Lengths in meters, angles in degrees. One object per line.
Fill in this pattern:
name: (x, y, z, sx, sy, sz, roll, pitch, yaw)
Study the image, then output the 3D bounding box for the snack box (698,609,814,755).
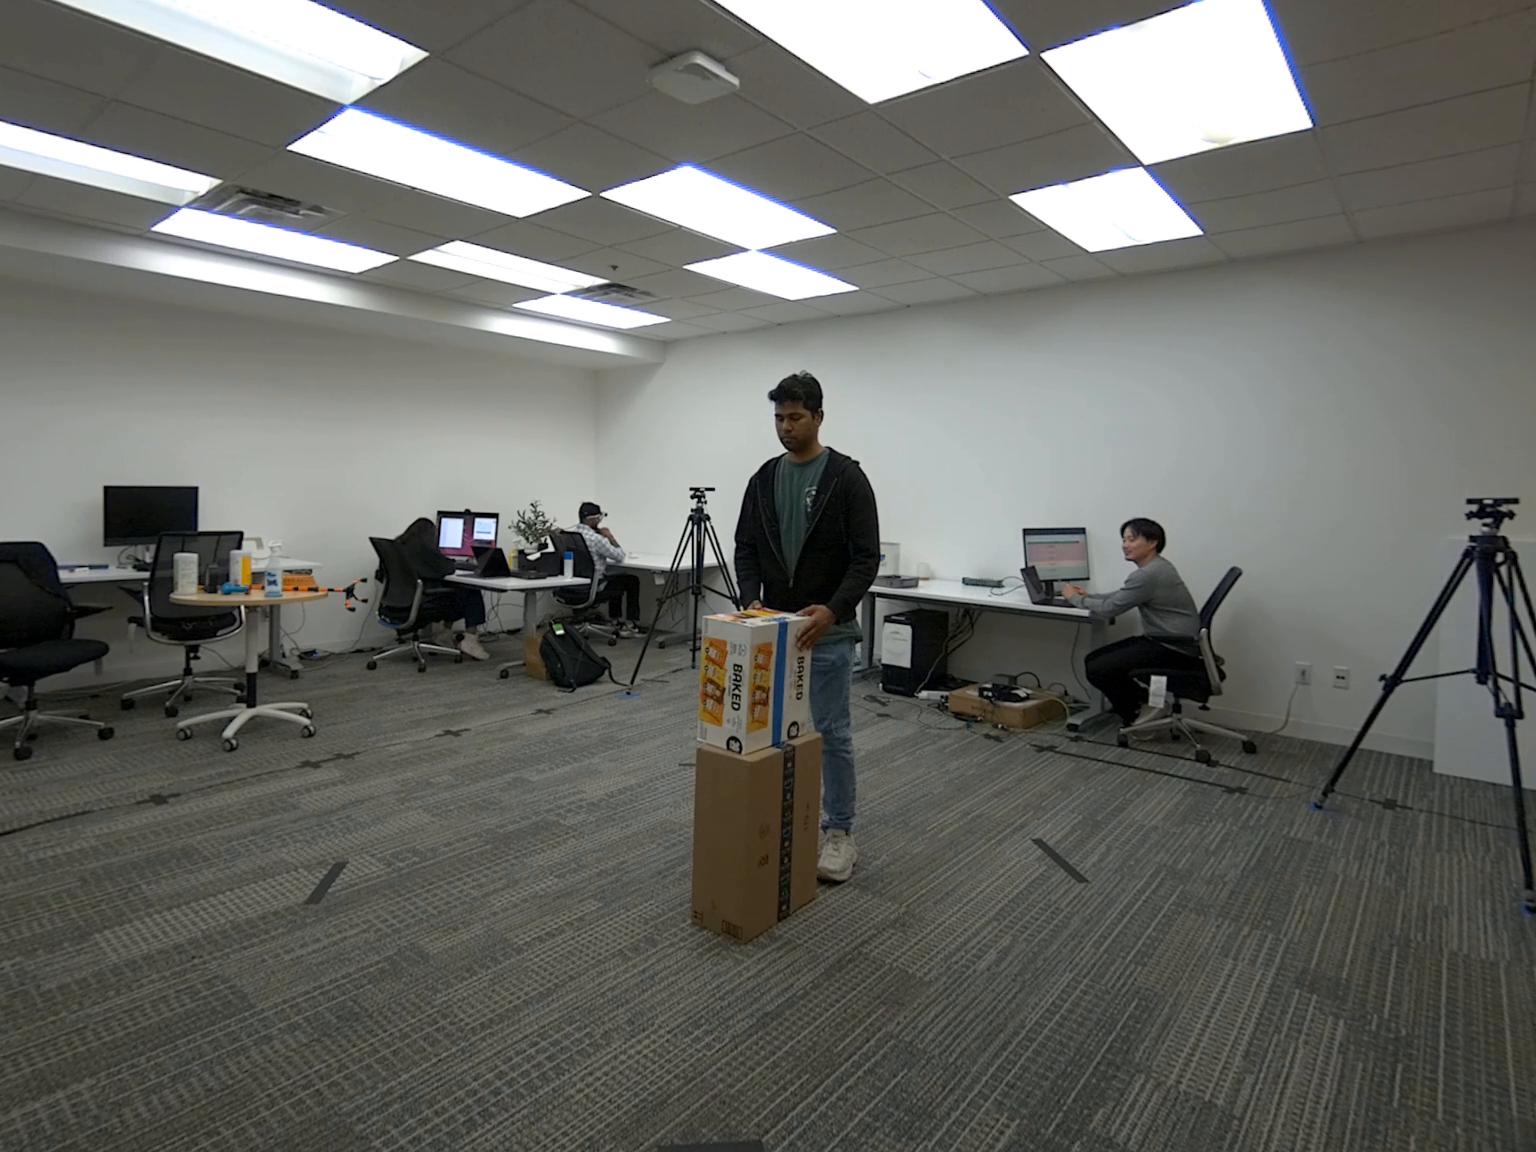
snack box: (-0.051, 0.327, 2.803, 0.213, 0.403, 0.330, 6, 6, 38)
